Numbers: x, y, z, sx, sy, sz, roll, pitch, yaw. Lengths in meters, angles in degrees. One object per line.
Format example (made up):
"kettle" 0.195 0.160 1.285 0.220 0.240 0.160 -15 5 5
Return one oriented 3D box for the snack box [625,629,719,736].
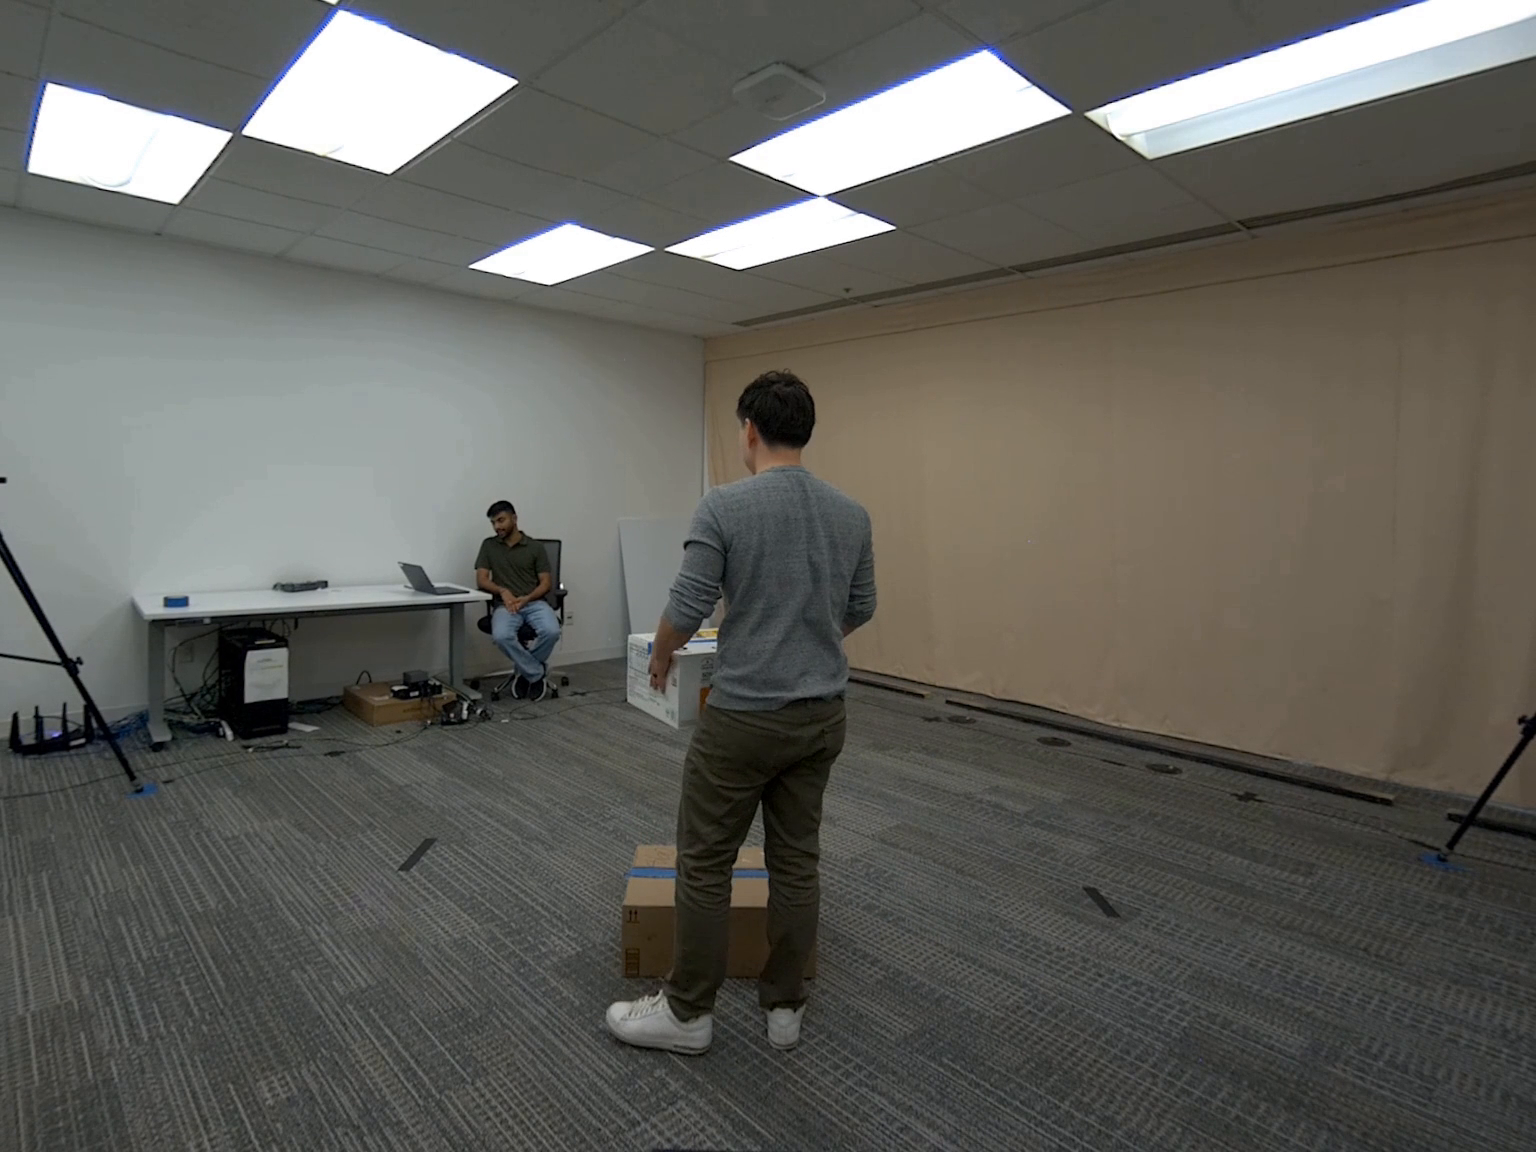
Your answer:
"snack box" -0.154 0.284 2.418 0.397 0.205 0.348 -2 6 -31
